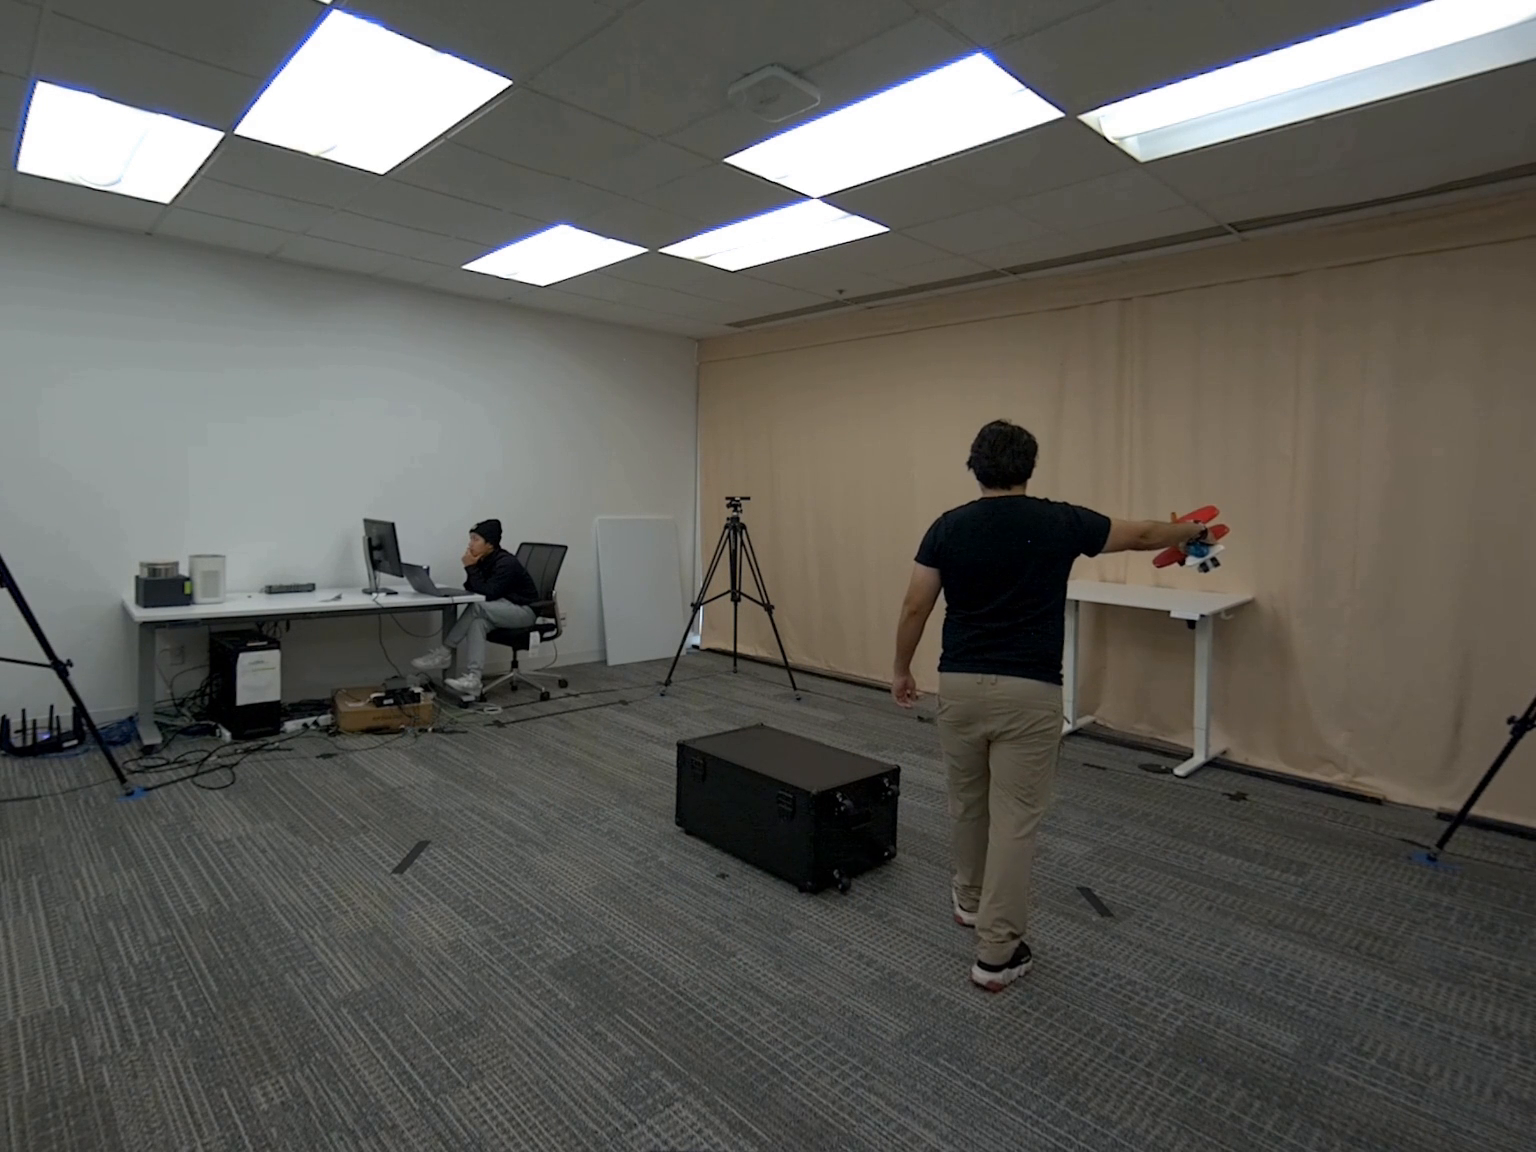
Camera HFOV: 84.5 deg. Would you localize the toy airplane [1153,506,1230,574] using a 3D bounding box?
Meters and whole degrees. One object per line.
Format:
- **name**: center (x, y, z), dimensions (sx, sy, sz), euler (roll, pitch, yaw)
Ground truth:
- **toy airplane**: center (1.431, -0.116, 2.806), dimensions (0.250, 0.156, 0.260), euler (-34, 3, -10)
